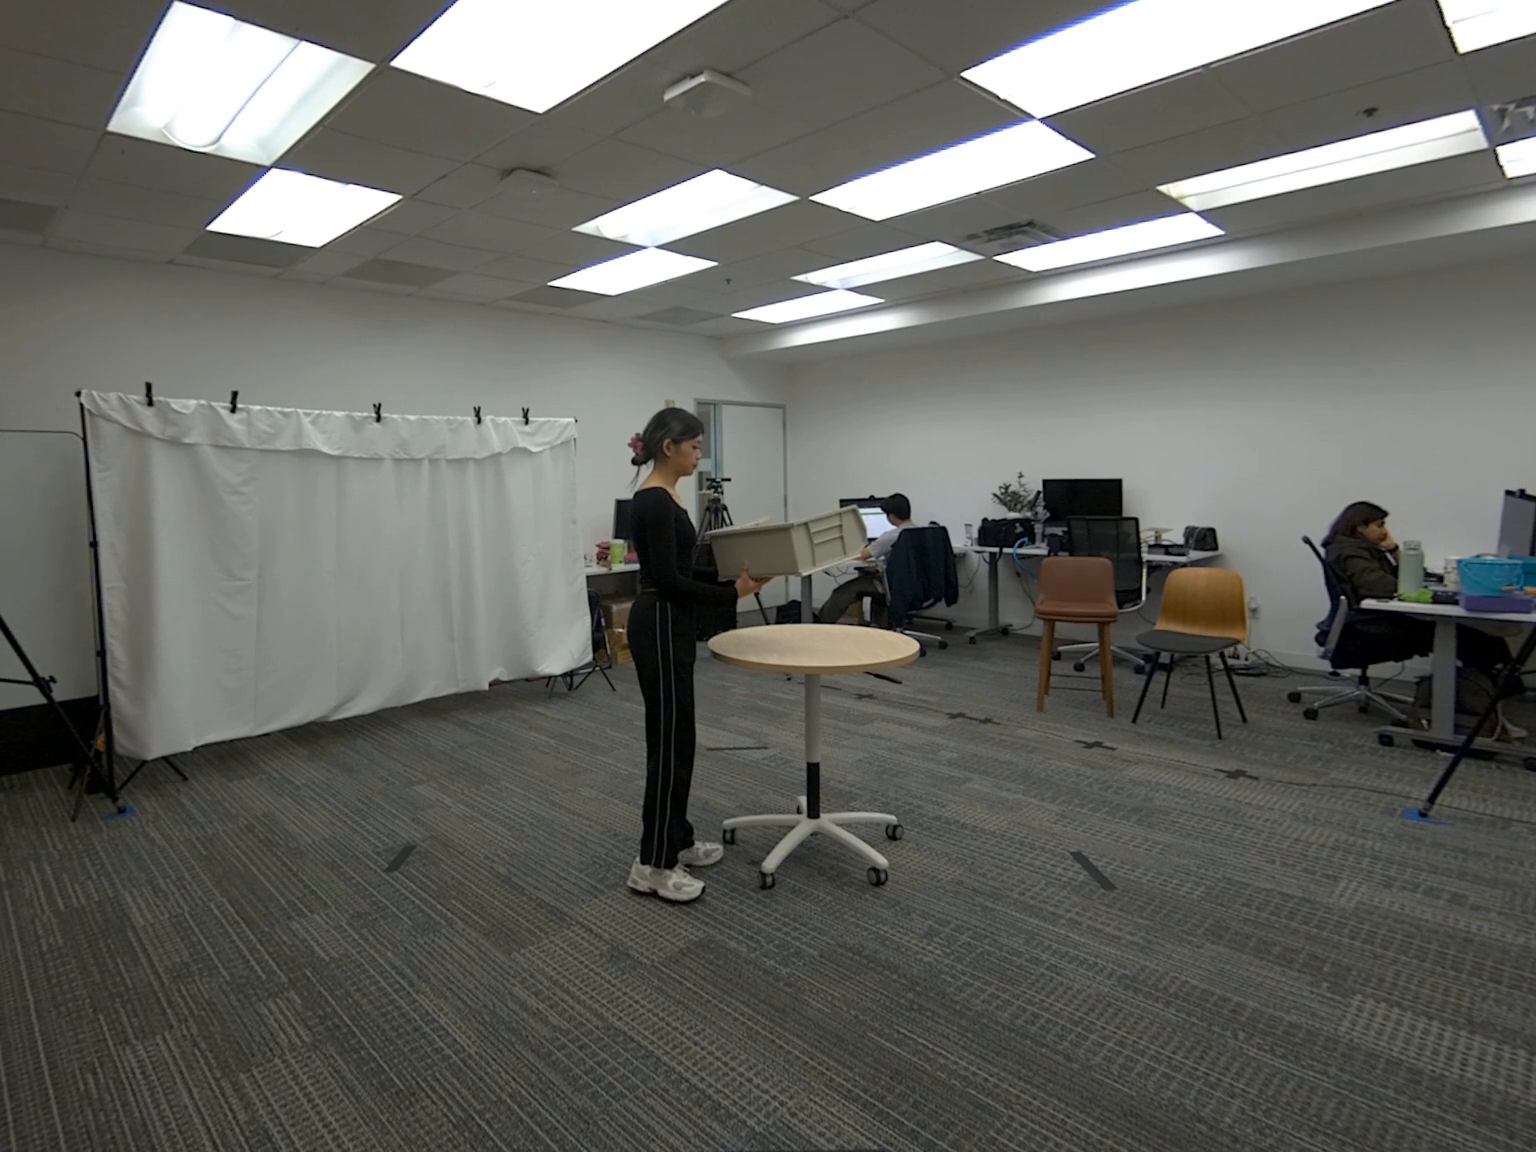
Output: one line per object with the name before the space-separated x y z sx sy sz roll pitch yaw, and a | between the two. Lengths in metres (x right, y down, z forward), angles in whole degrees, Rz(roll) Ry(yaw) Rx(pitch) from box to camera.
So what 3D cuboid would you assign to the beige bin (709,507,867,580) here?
beige bin | 0.066 -0.113 2.992 0.434 0.188 0.370 -3 11 46
